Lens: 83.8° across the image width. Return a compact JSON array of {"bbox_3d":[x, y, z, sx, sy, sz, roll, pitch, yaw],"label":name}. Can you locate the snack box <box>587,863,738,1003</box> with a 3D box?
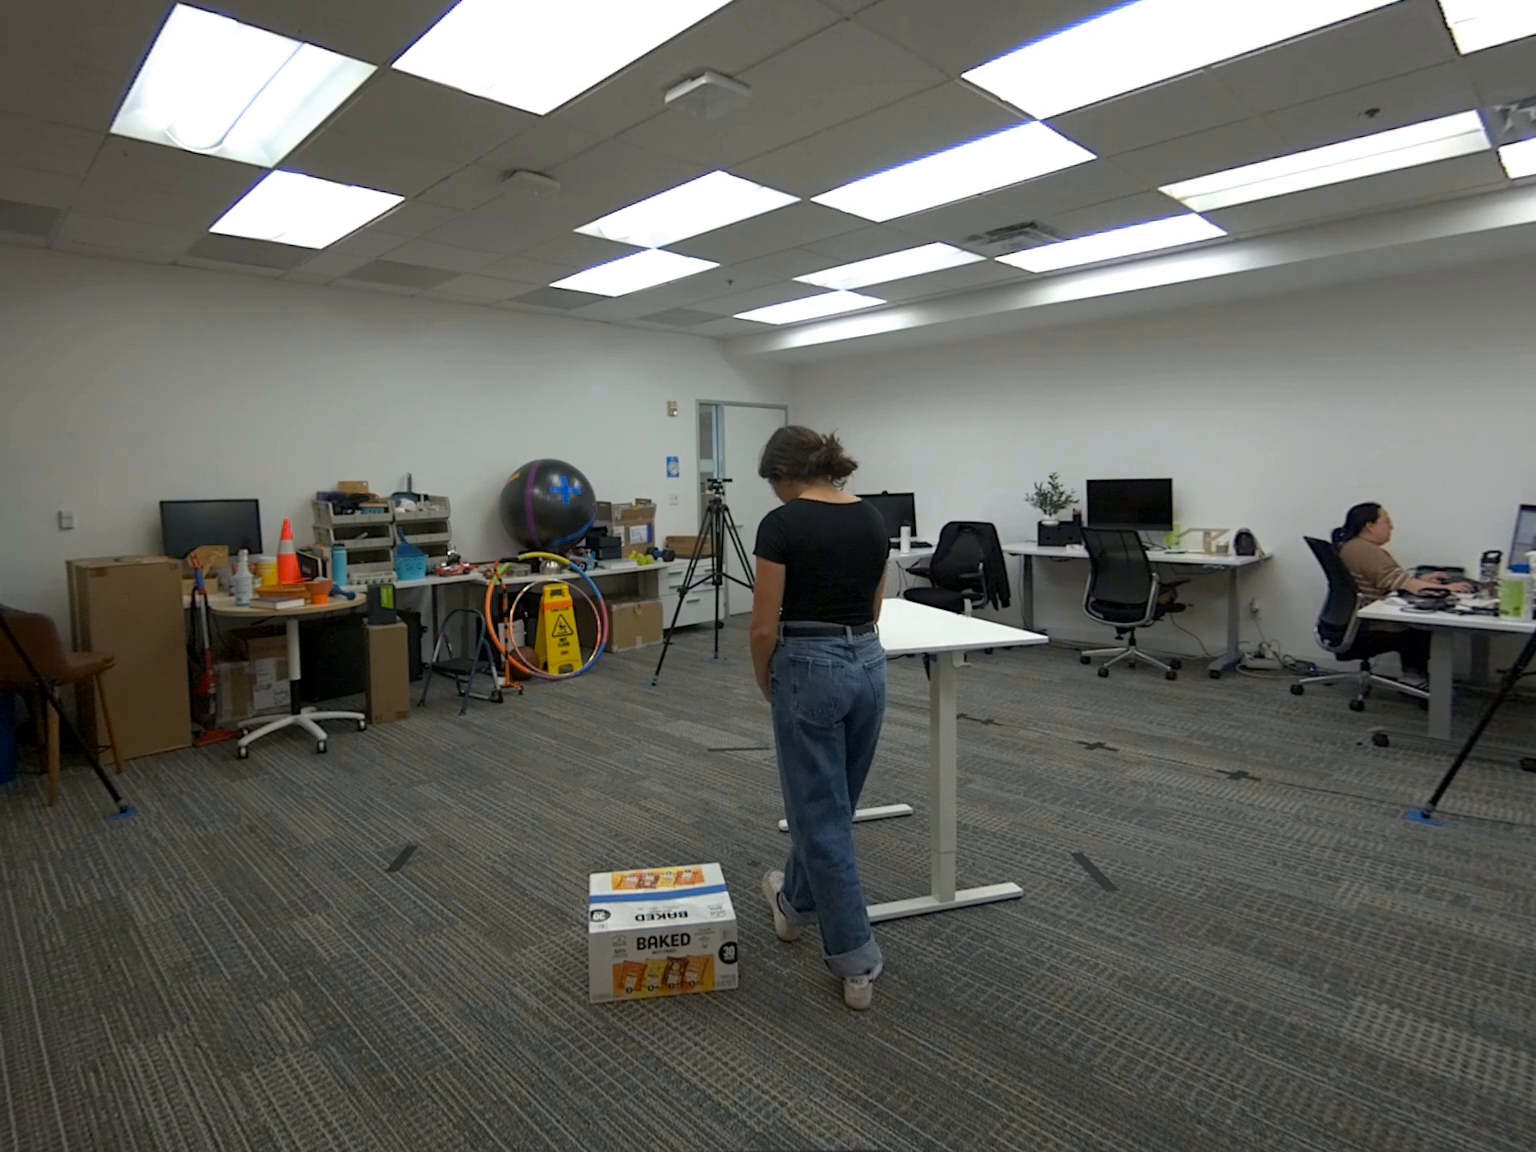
[{"bbox_3d":[-0.304,1.024,2.468,0.402,0.205,0.345,-2,6,-10],"label":"snack box"}]
